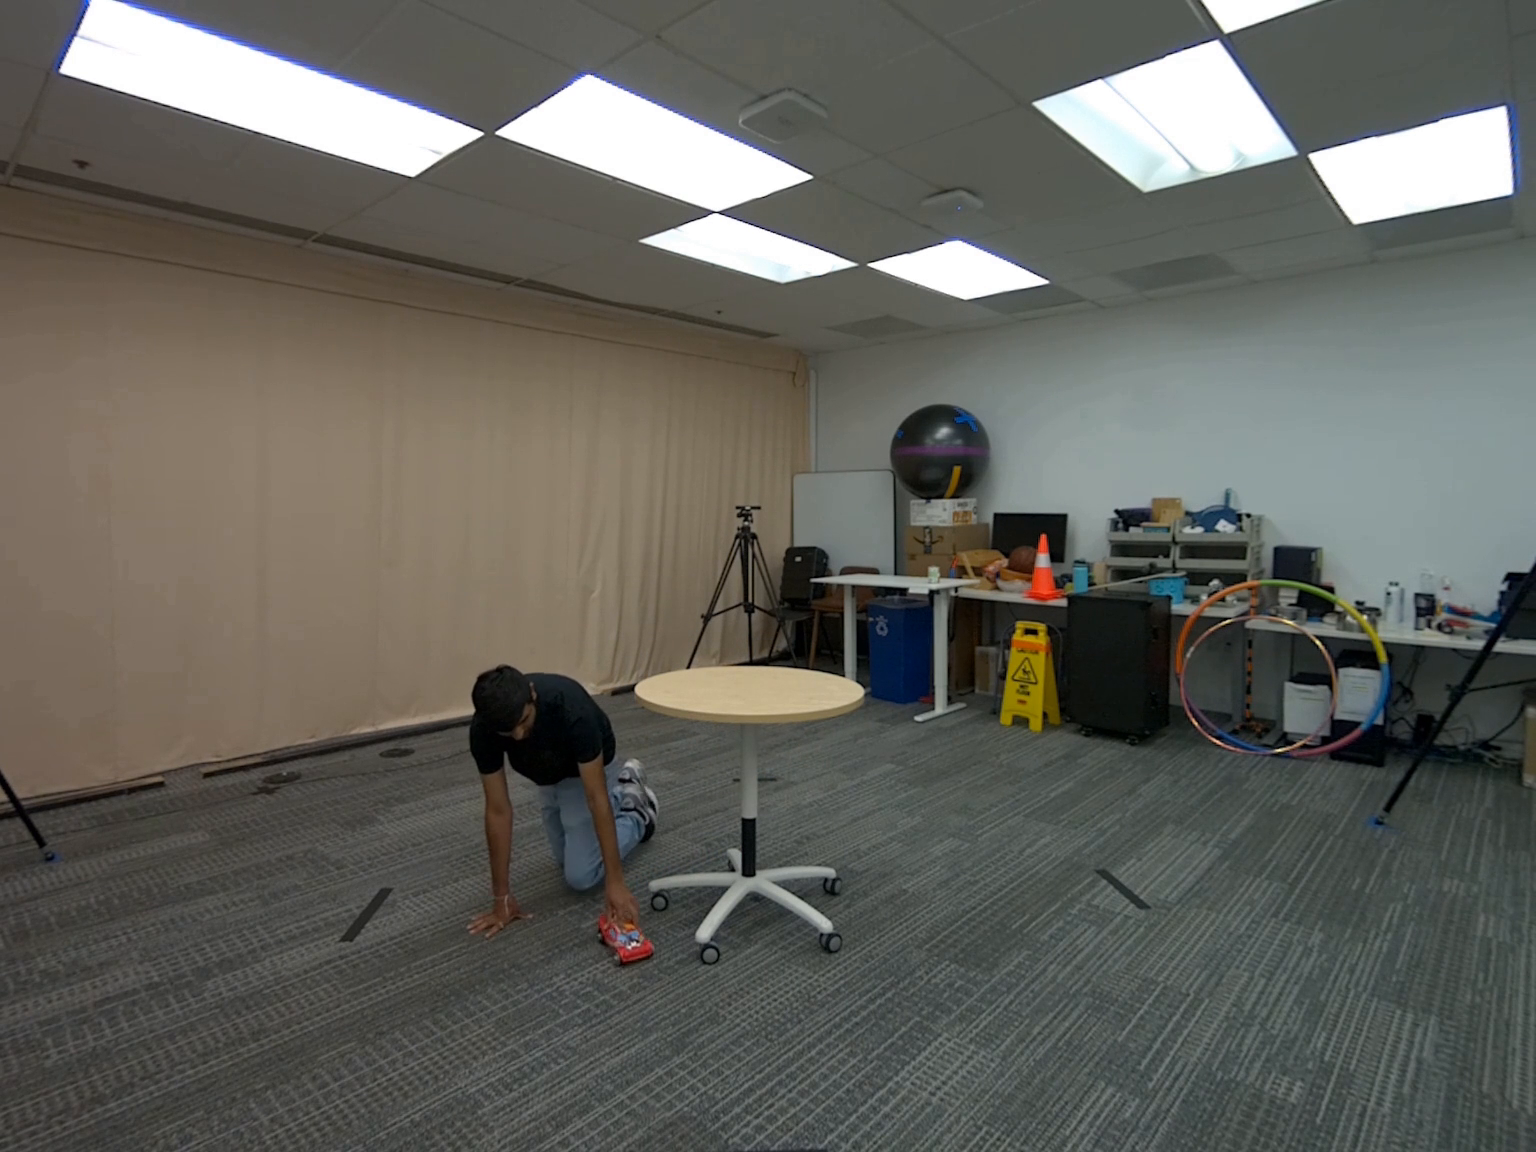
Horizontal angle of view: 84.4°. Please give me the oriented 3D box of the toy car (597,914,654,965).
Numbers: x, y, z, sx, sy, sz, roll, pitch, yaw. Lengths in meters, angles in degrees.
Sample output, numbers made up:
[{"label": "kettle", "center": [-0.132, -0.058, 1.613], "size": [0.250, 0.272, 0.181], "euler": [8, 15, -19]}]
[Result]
[{"label": "toy car", "center": [-0.462, 1.139, 2.662], "size": [0.127, 0.082, 0.263], "euler": [-4, 16, -29]}]
